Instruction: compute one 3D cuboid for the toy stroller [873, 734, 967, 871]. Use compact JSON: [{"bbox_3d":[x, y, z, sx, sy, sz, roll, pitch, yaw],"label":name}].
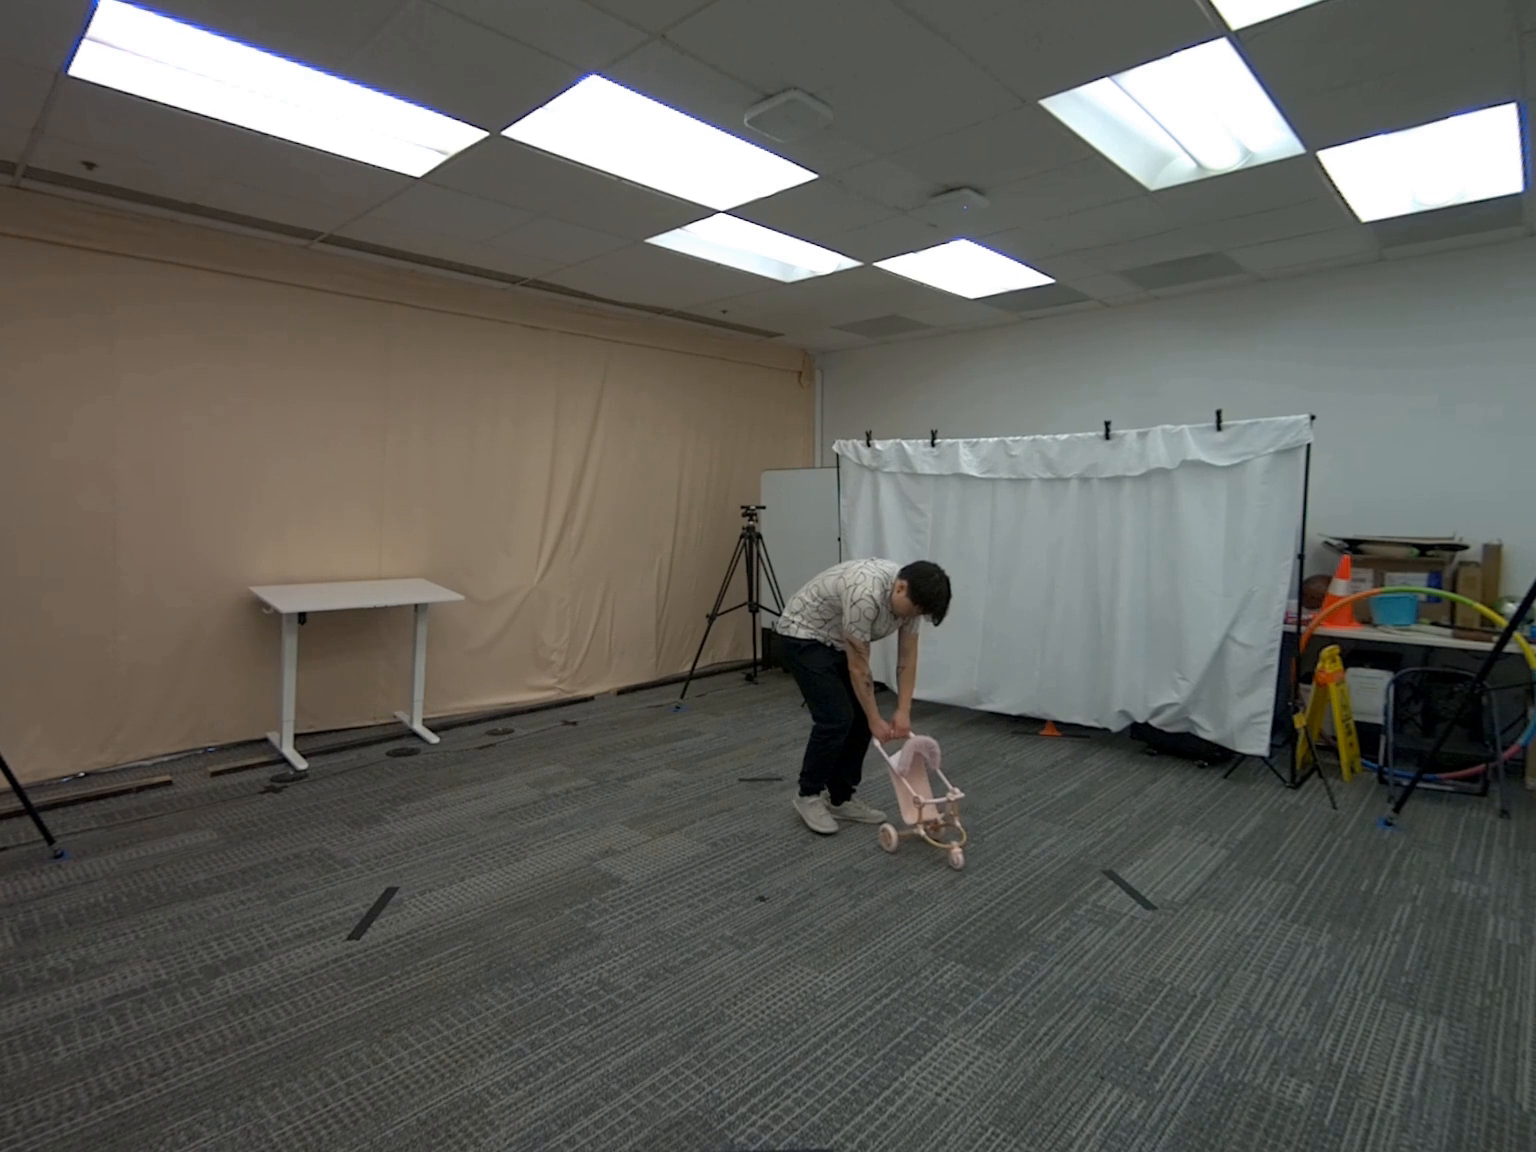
[{"bbox_3d":[0.624,0.883,3.381,0.275,0.540,0.347,-1,-13,-26],"label":"toy stroller"}]
